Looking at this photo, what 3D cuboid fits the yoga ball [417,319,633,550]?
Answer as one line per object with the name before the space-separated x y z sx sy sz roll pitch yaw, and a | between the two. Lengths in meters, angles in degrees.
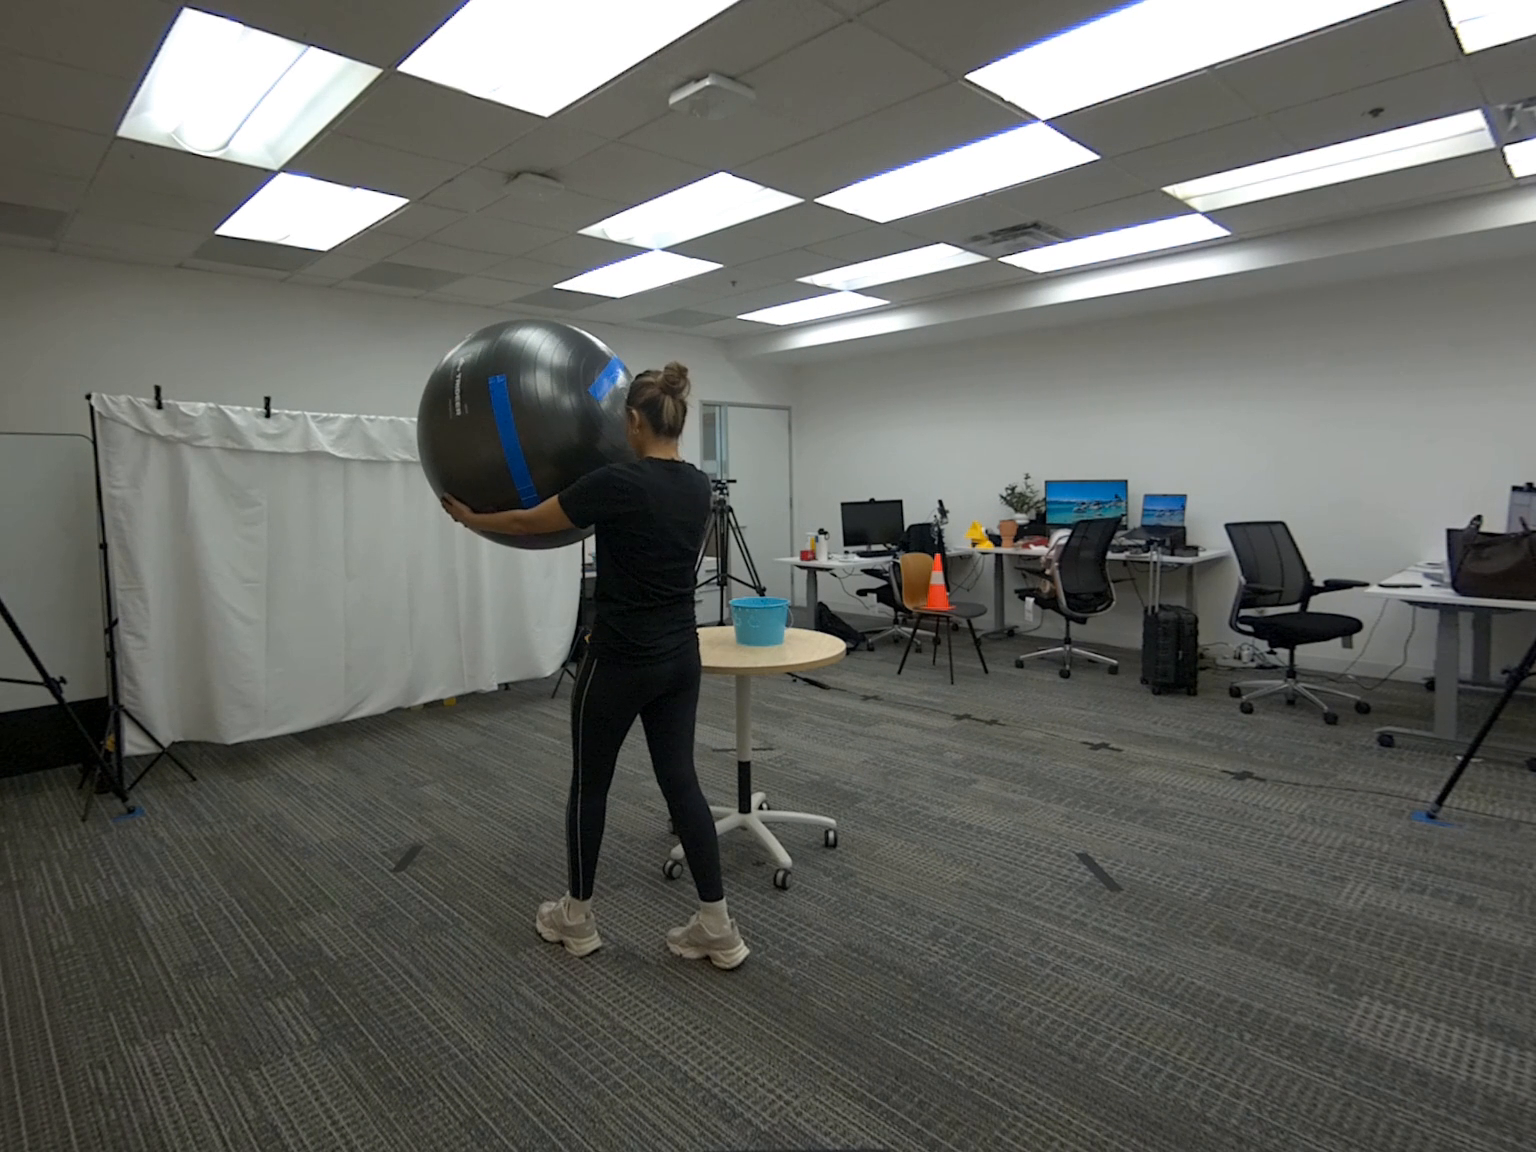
yoga ball | -0.778 -0.459 2.846 0.757 0.755 0.762 -1 5 -2
